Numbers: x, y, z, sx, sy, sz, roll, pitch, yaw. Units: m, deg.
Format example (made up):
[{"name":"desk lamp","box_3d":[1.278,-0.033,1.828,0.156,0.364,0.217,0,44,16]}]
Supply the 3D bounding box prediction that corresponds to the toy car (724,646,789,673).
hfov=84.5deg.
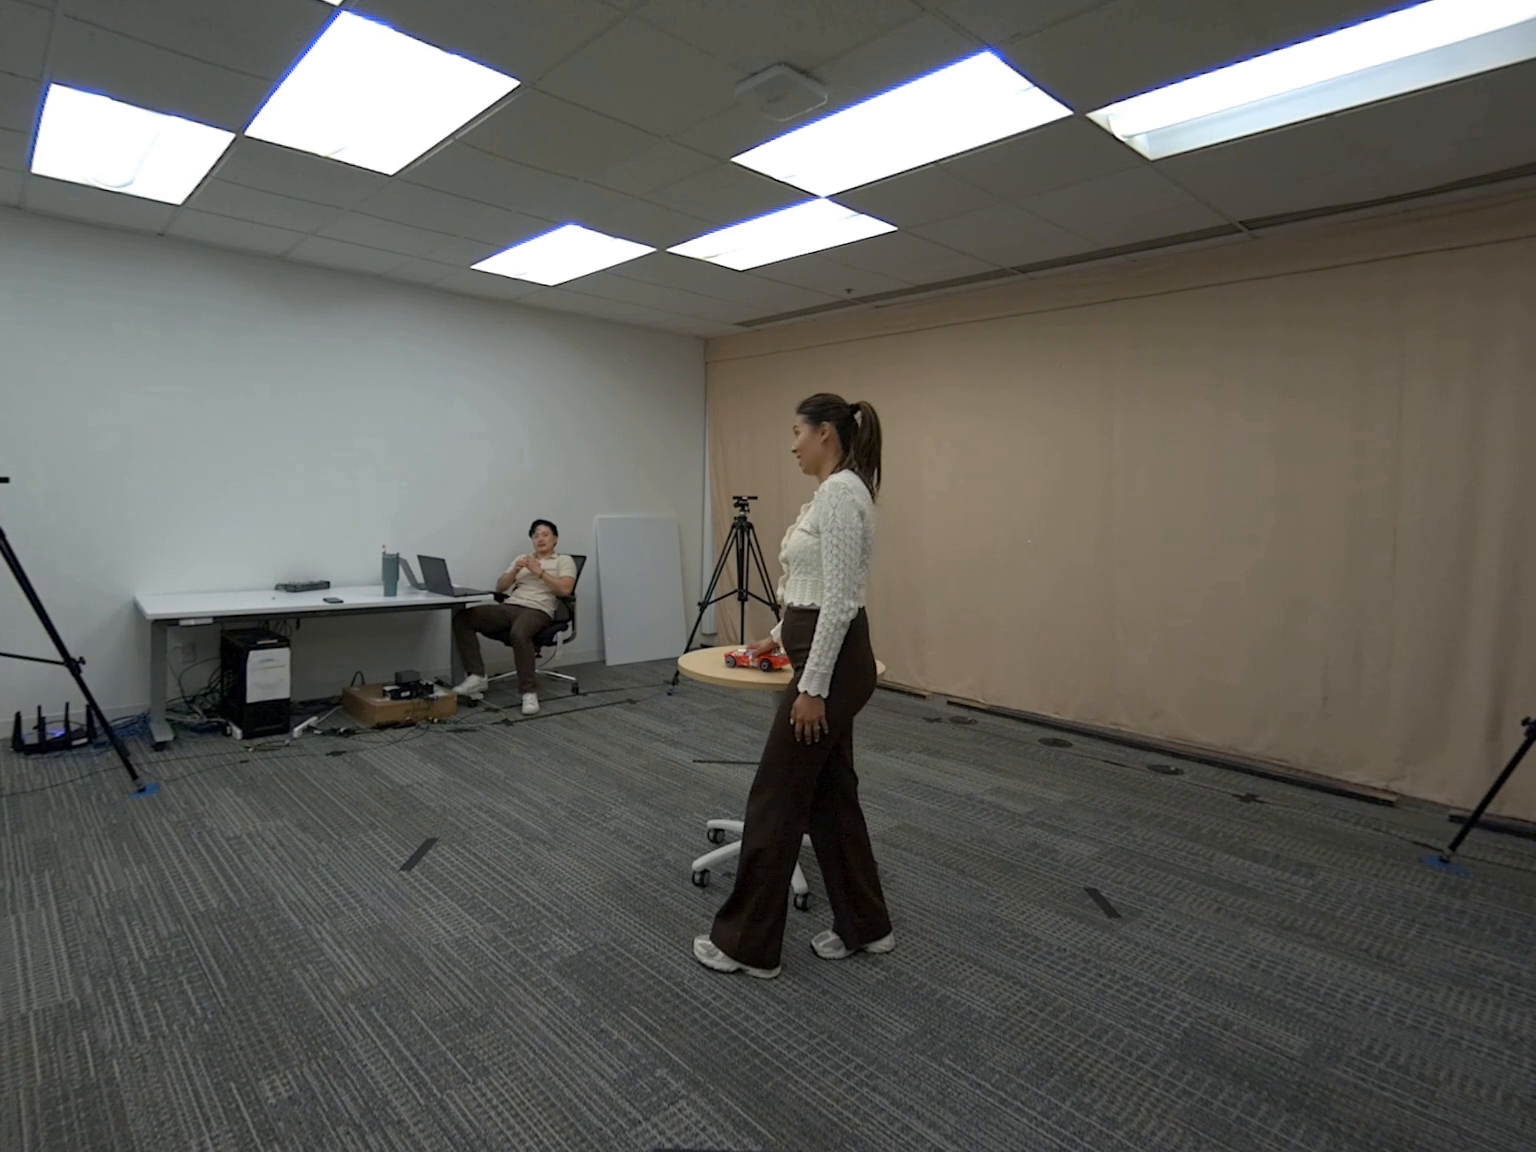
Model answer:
[{"name":"toy car","box_3d":[-0.034,0.298,2.993,0.259,0.083,0.128,-9,0,29]}]
